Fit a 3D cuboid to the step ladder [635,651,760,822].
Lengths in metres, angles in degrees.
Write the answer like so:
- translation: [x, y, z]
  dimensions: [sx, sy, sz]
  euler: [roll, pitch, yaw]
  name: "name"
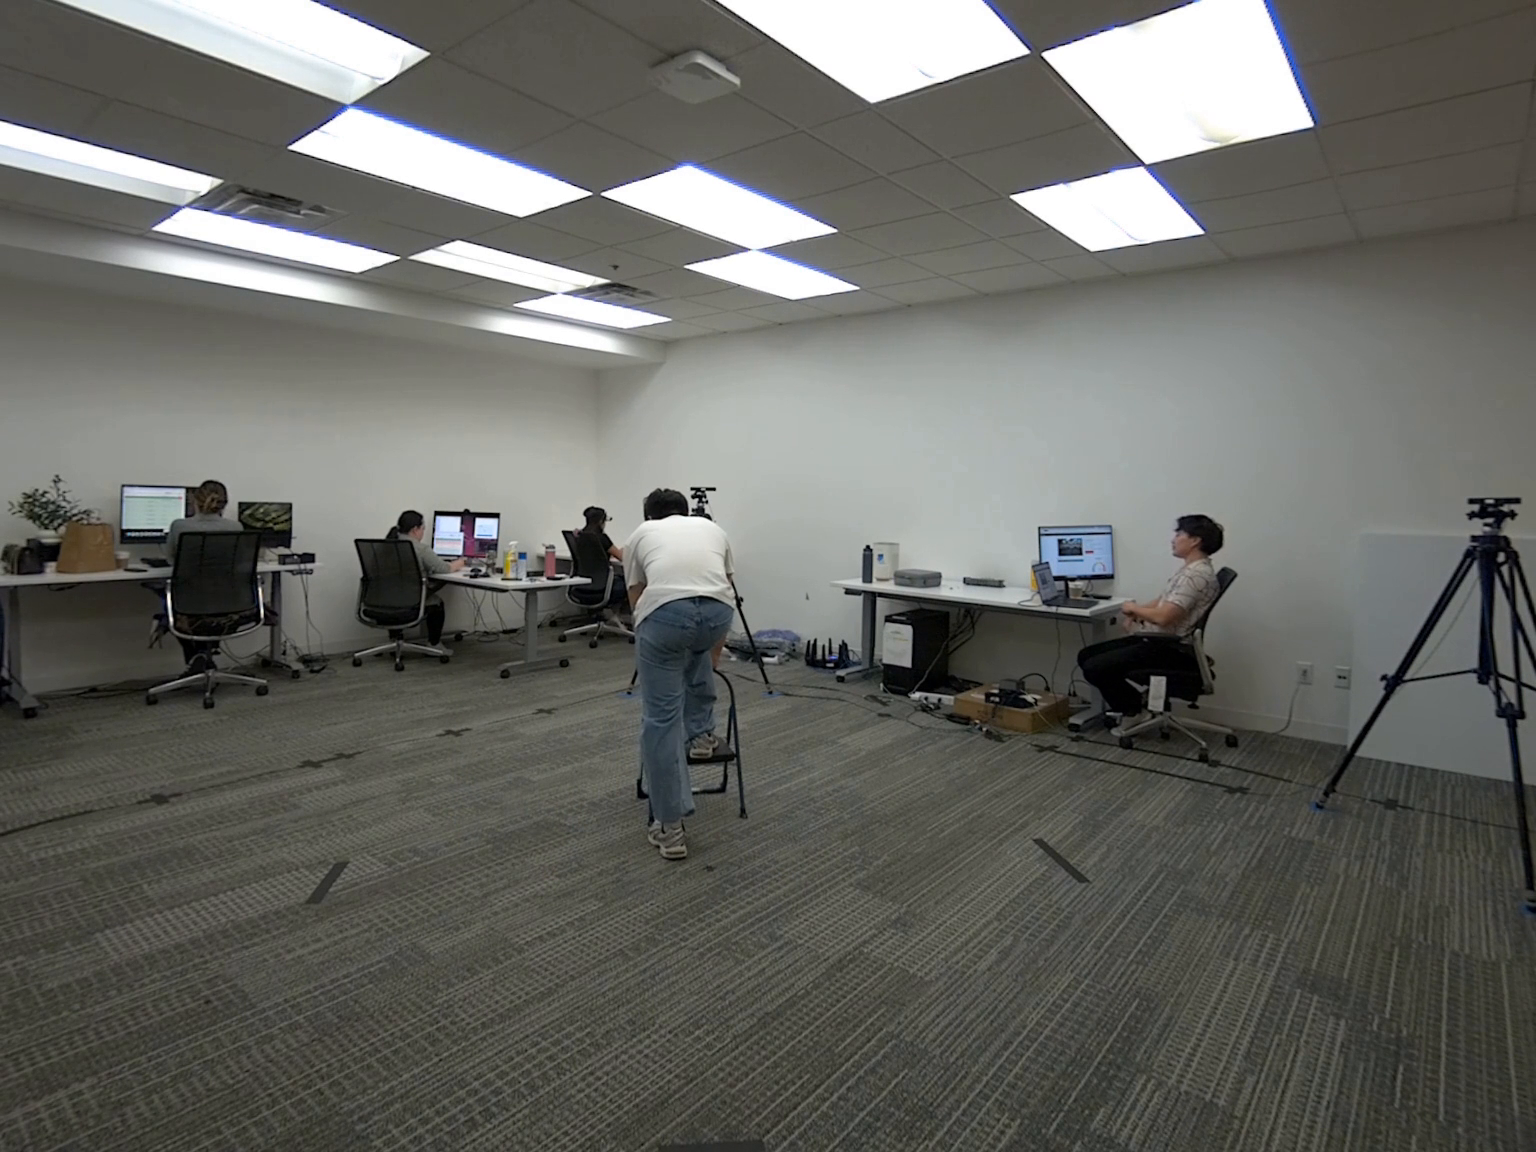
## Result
- translation: [-0.339, 0.706, 3.696]
  dimensions: [0.423, 0.605, 0.356]
  euler: [1, 2, -17]
  name: "step ladder"
